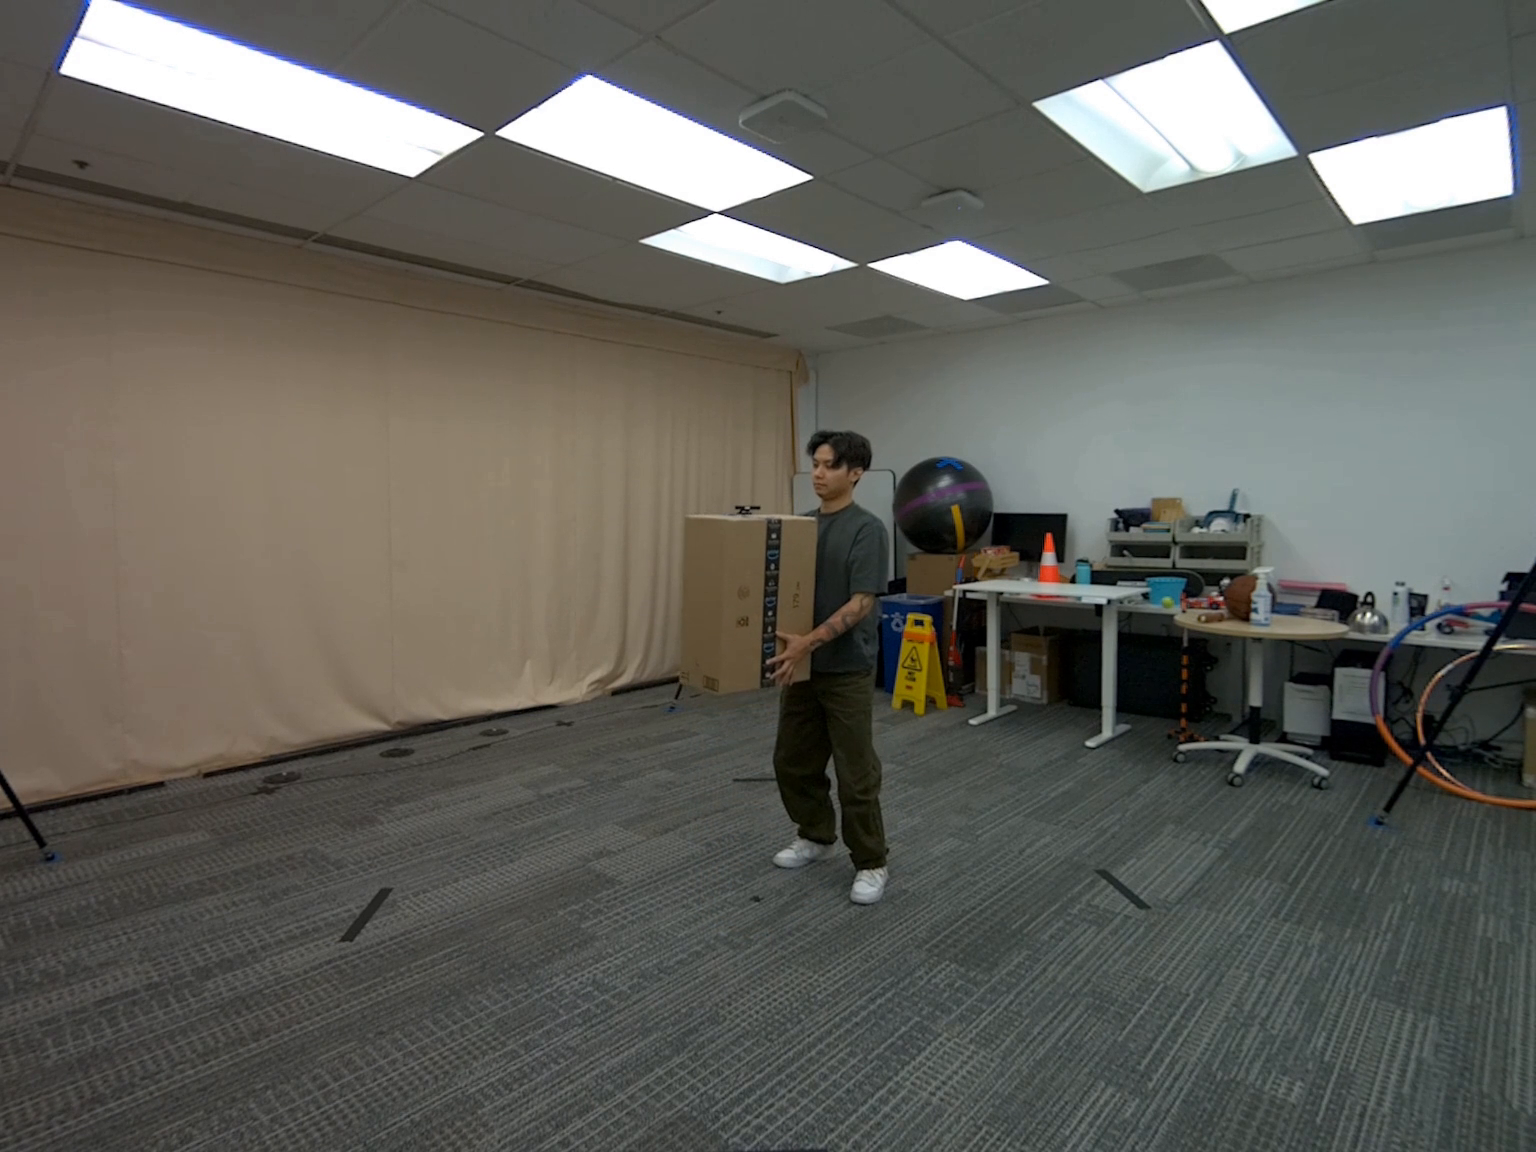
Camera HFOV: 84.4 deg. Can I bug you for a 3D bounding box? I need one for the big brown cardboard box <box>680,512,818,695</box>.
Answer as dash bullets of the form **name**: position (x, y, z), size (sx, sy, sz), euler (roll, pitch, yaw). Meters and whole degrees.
- **big brown cardboard box**: position (-0.063, 0.077, 2.869), size (0.405, 0.588, 0.241), euler (-2, 5, -41)
